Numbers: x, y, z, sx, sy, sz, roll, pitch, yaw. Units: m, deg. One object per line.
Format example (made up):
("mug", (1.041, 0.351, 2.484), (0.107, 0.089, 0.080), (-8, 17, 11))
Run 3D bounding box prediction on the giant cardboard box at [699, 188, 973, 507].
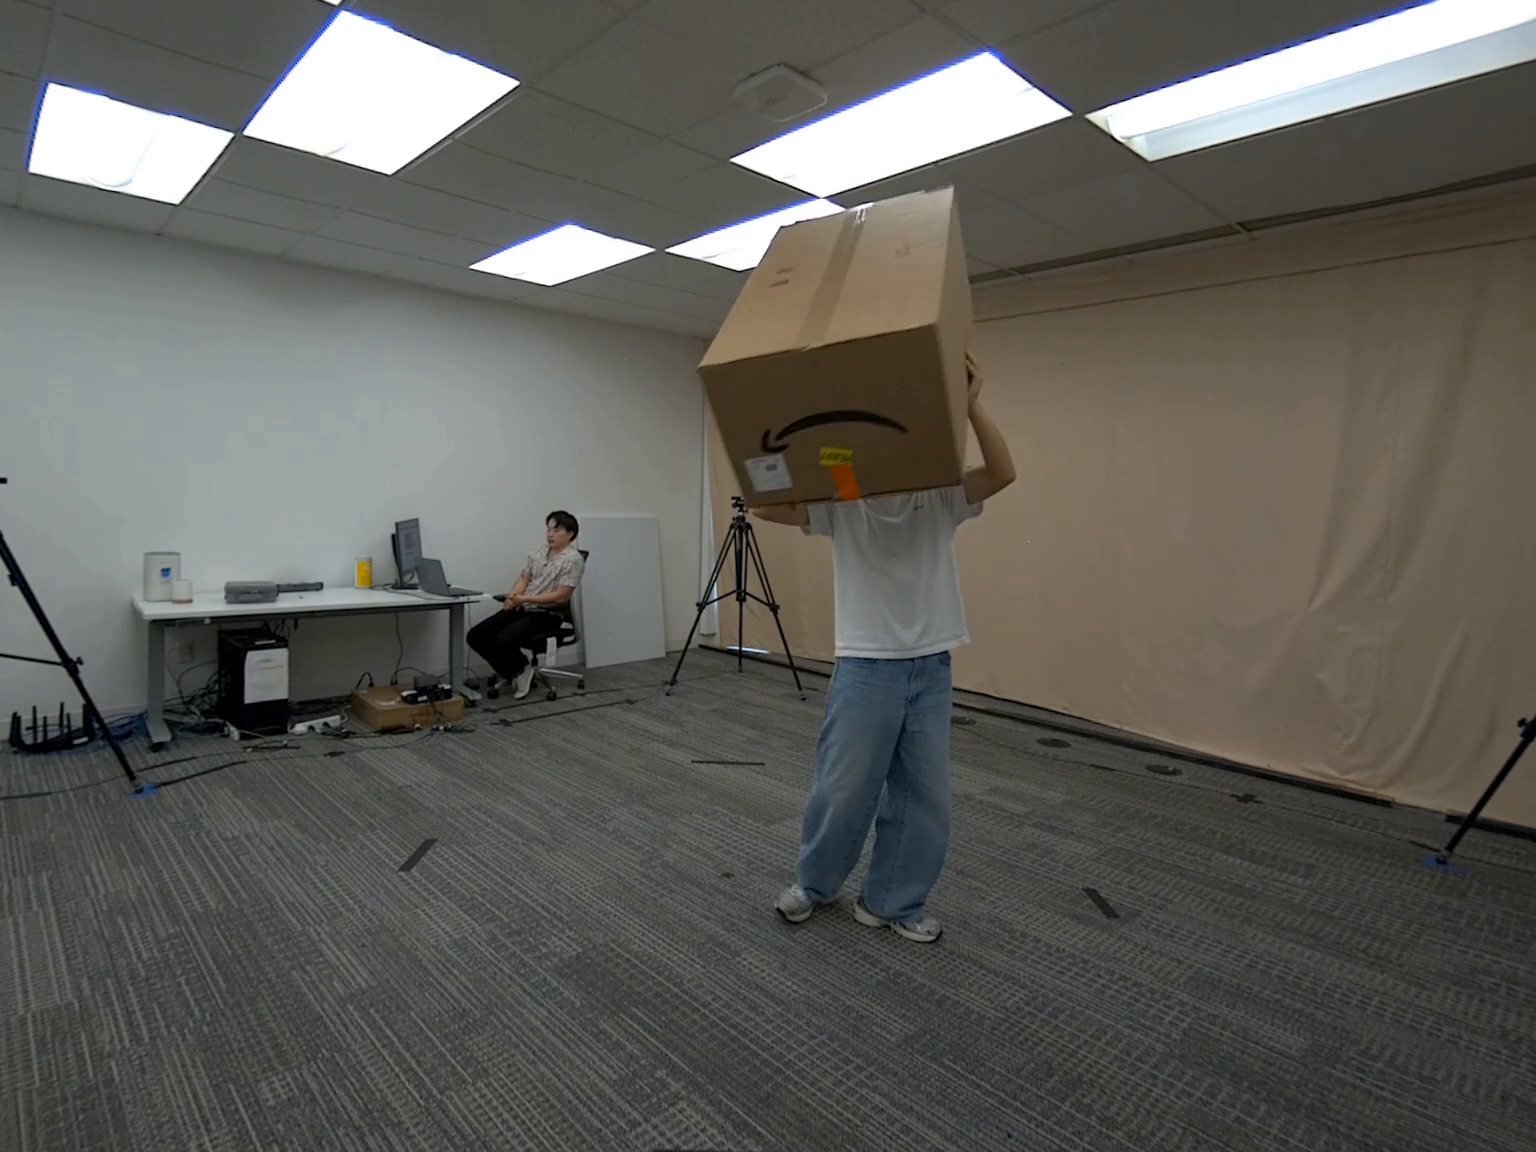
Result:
("giant cardboard box", (0.237, -0.675, 2.421), (0.586, 0.415, 1.039), (-6, 38, 21))
